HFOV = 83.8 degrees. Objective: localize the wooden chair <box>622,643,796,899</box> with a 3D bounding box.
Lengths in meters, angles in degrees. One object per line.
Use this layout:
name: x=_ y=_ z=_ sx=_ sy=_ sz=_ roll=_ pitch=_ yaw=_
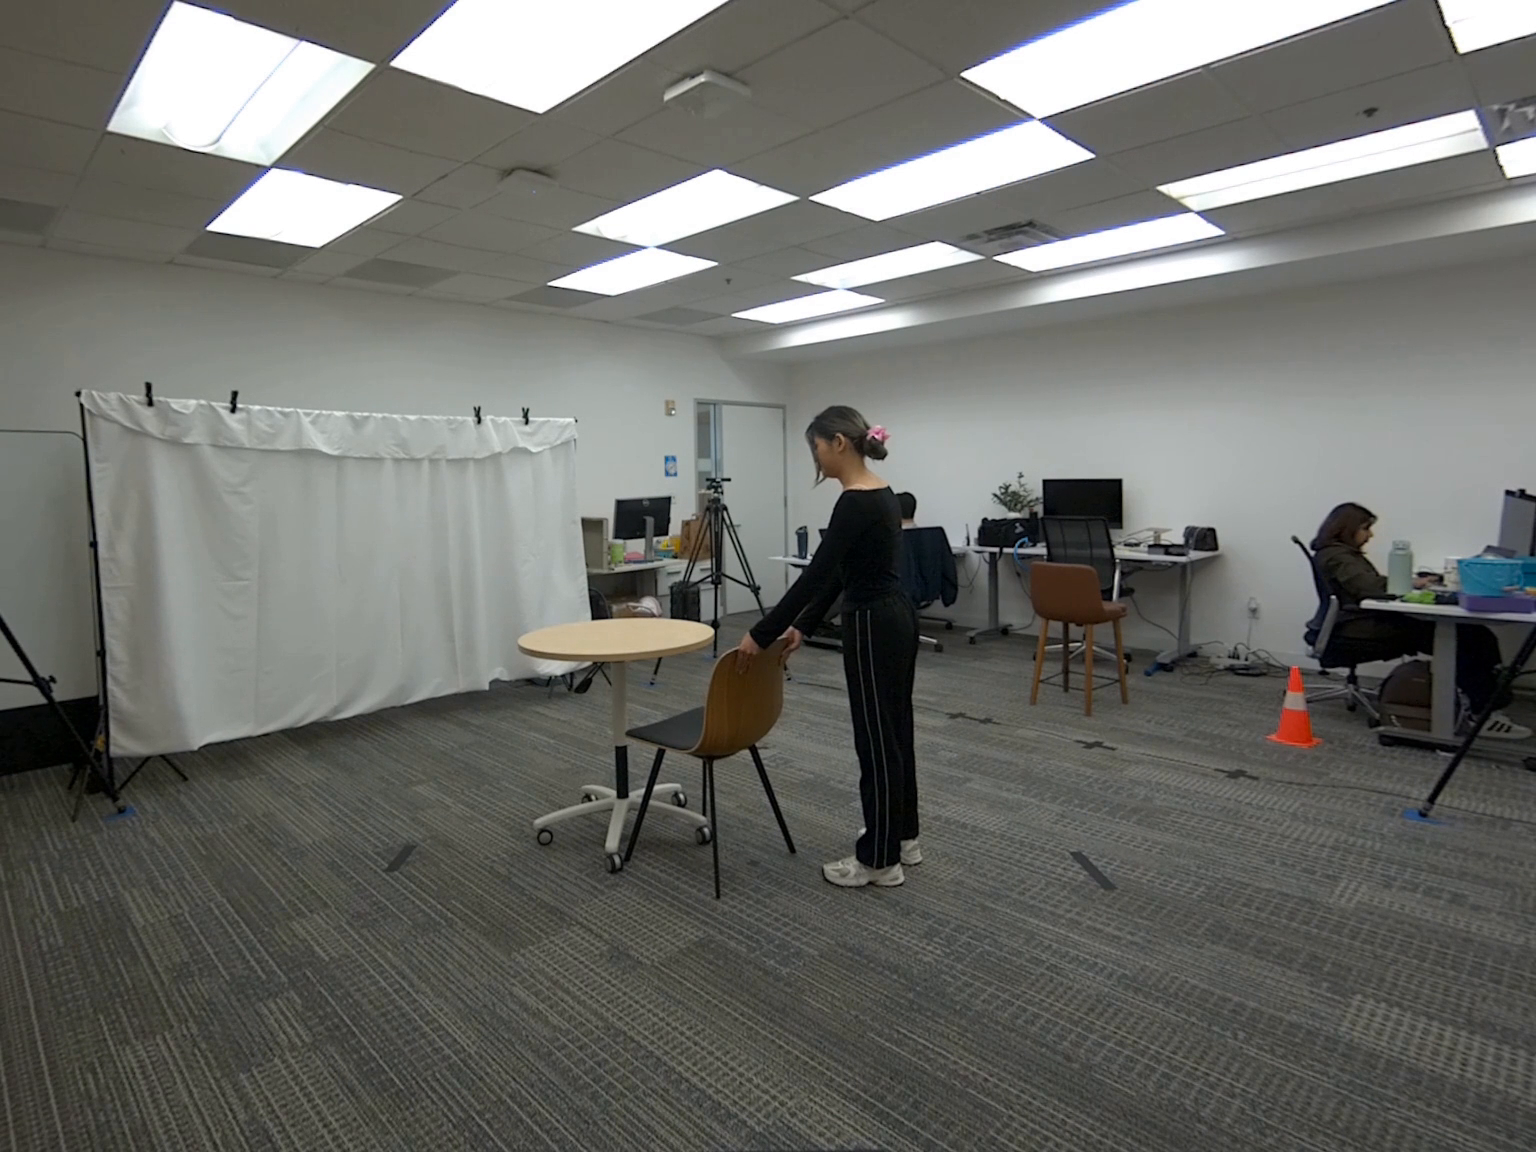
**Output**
wooden chair: x=-0.216 y=0.612 z=3.115 sx=0.540 sy=0.872 sz=0.466 roll=9 pitch=10 yaw=38
